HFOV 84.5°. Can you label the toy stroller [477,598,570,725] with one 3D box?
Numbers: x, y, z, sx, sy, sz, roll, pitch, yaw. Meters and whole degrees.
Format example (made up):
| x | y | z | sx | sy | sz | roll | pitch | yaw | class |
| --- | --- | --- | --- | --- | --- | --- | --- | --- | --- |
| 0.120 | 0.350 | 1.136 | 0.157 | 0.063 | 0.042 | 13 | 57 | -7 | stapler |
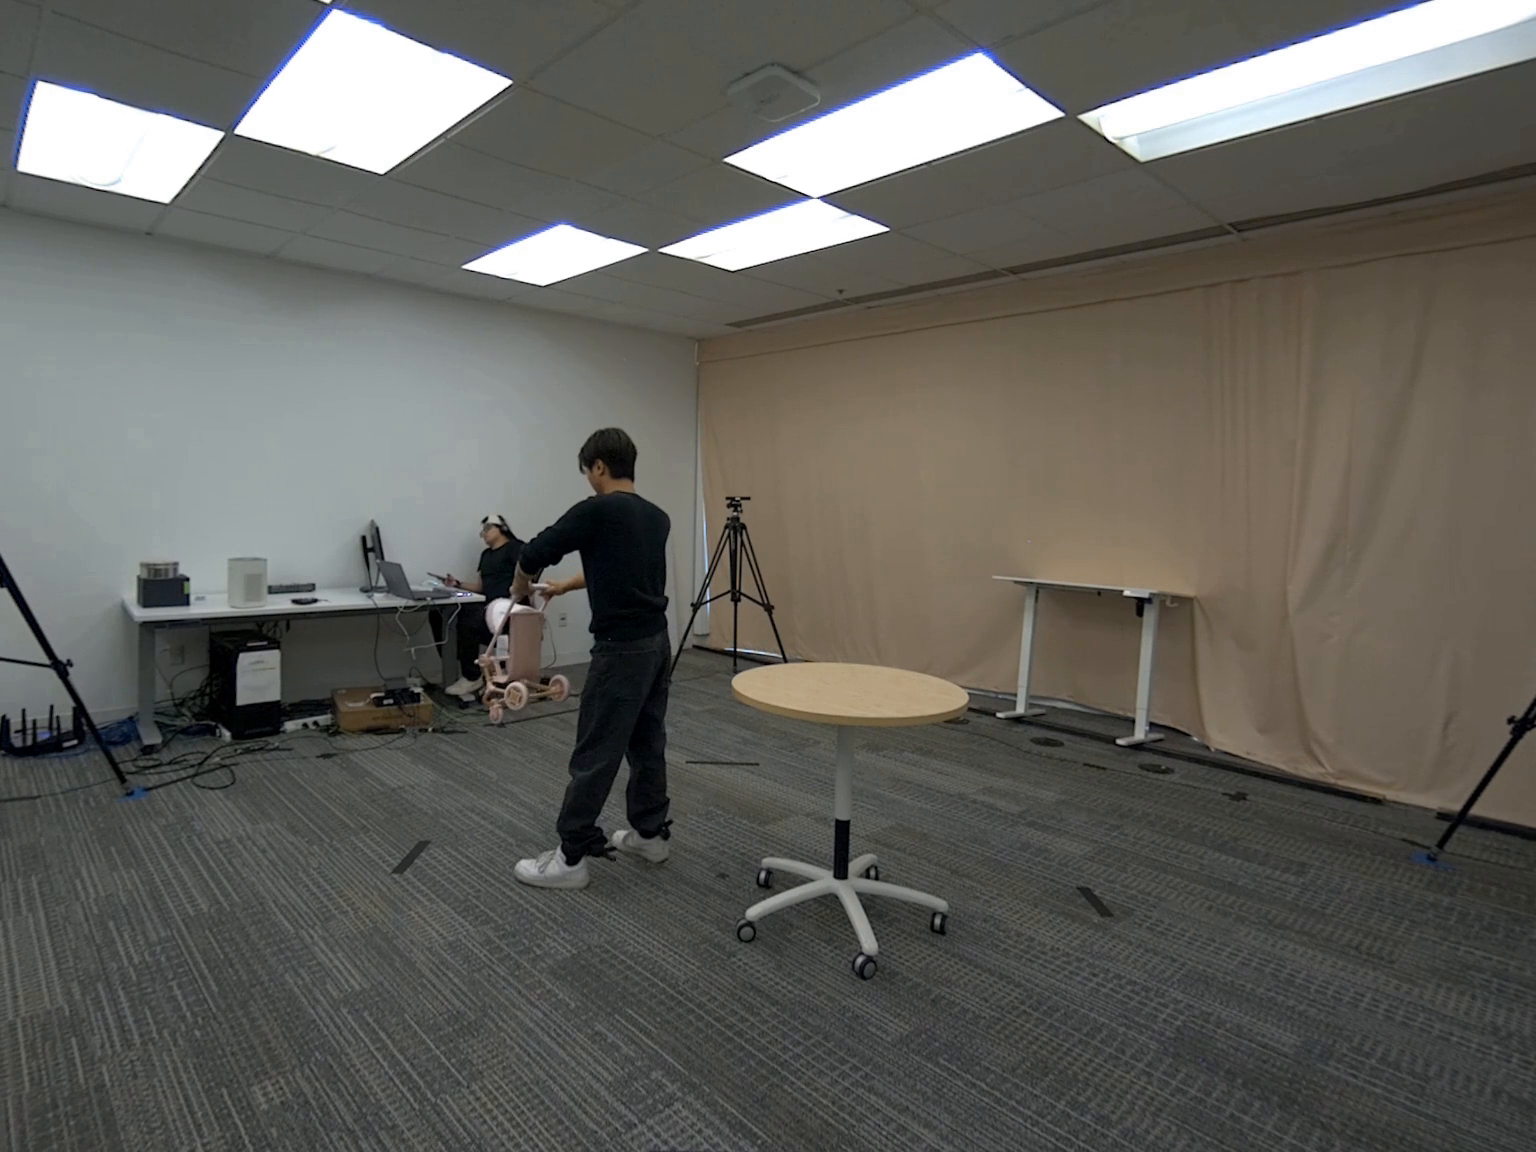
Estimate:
| x | y | z | sx | sy | sz | roll | pitch | yaw | class |
| --- | --- | --- | --- | --- | --- | --- | --- | --- | --- |
| -1.011 | 0.318 | 3.382 | 0.348 | 0.537 | 0.275 | -9 | -5 | 34 | toy stroller |
